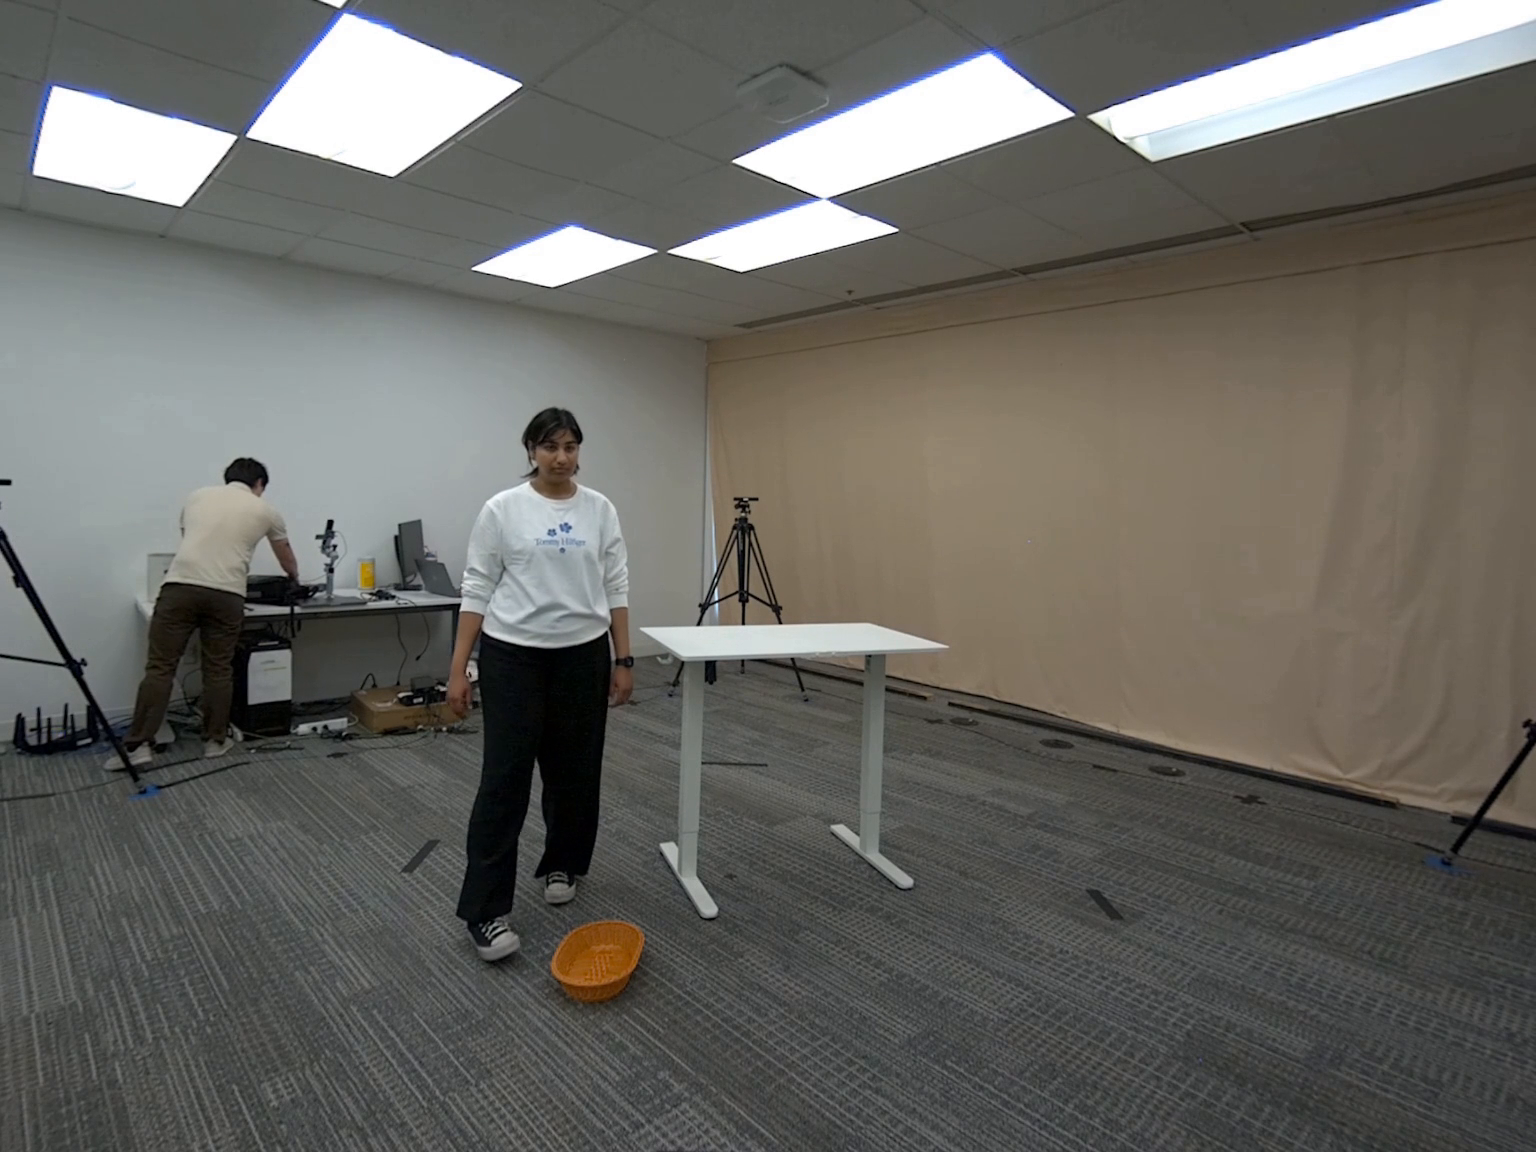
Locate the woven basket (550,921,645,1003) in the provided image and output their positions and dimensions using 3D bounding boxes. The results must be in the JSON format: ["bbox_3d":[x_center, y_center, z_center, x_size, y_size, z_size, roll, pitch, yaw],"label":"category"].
[{"bbox_3d":[-0.496,1.125,2.444,0.254,0.073,0.349,1,5,7],"label":"woven basket"}]
